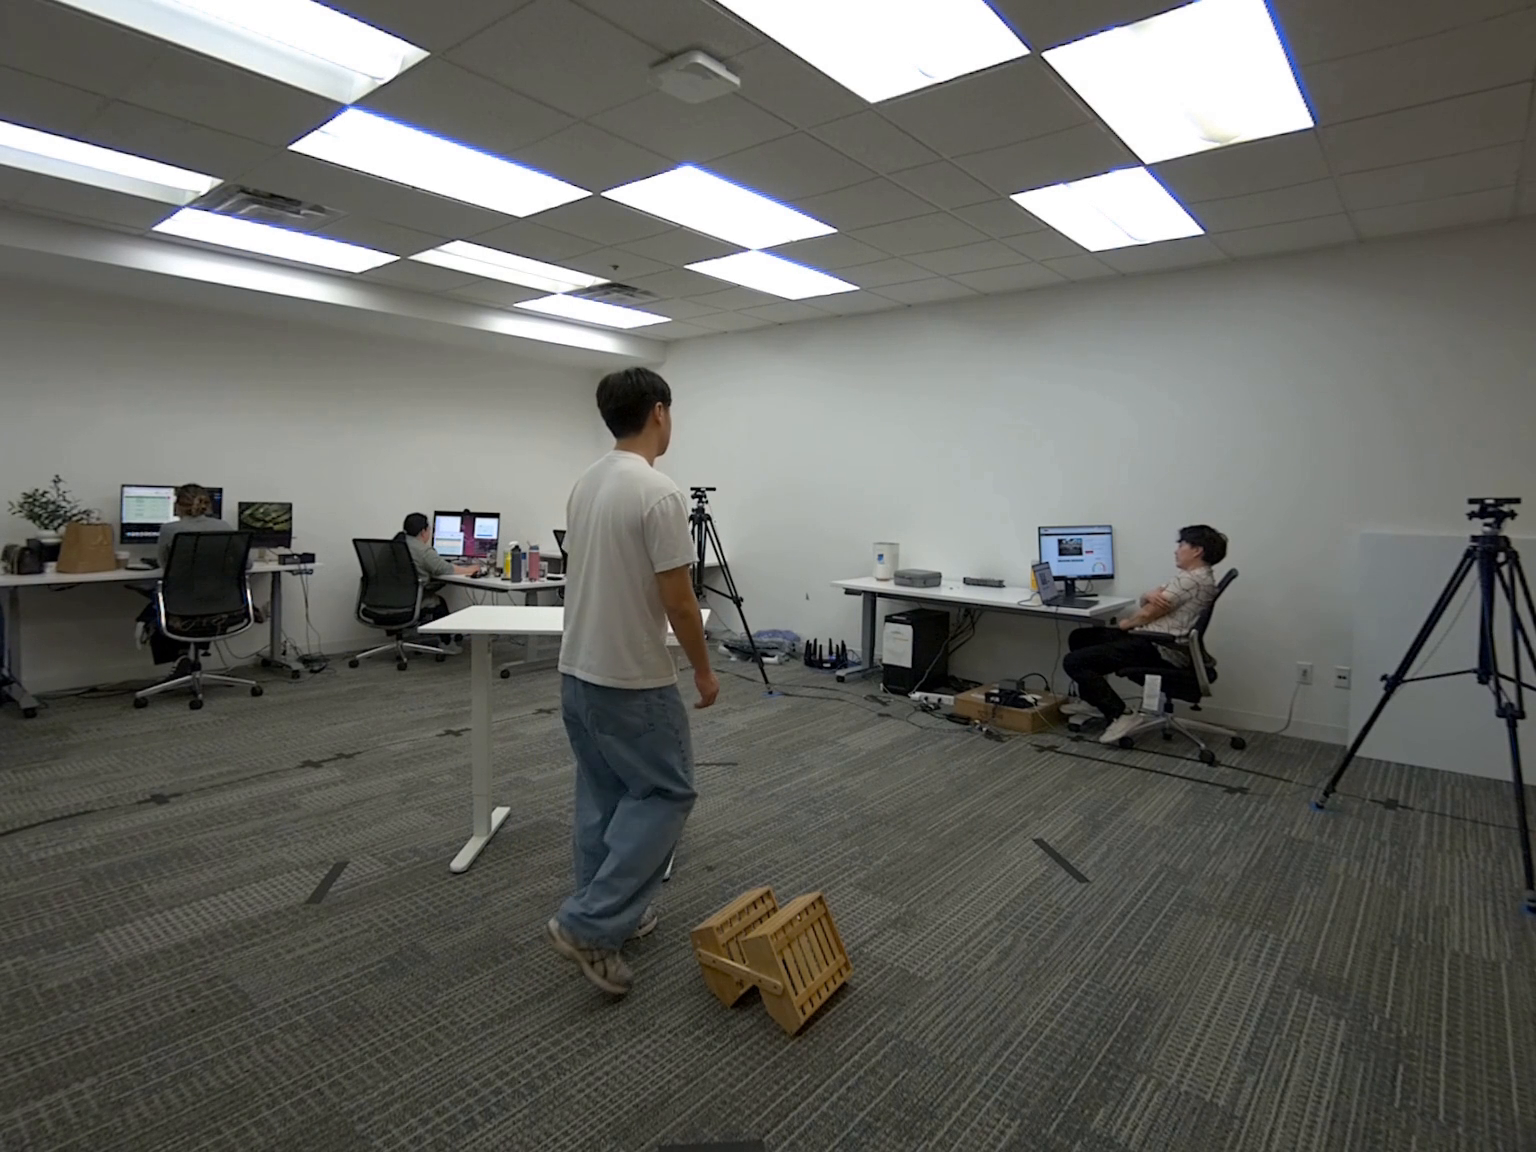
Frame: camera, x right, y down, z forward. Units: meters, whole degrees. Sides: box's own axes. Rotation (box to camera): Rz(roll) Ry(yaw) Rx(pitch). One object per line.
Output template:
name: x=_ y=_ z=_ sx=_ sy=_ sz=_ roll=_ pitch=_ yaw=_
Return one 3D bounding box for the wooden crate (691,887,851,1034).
wooden crate: x=0.004 y=1.060 z=2.362 sx=0.276 sy=0.307 sz=0.316 roll=-29 pitch=-13 yaw=31
